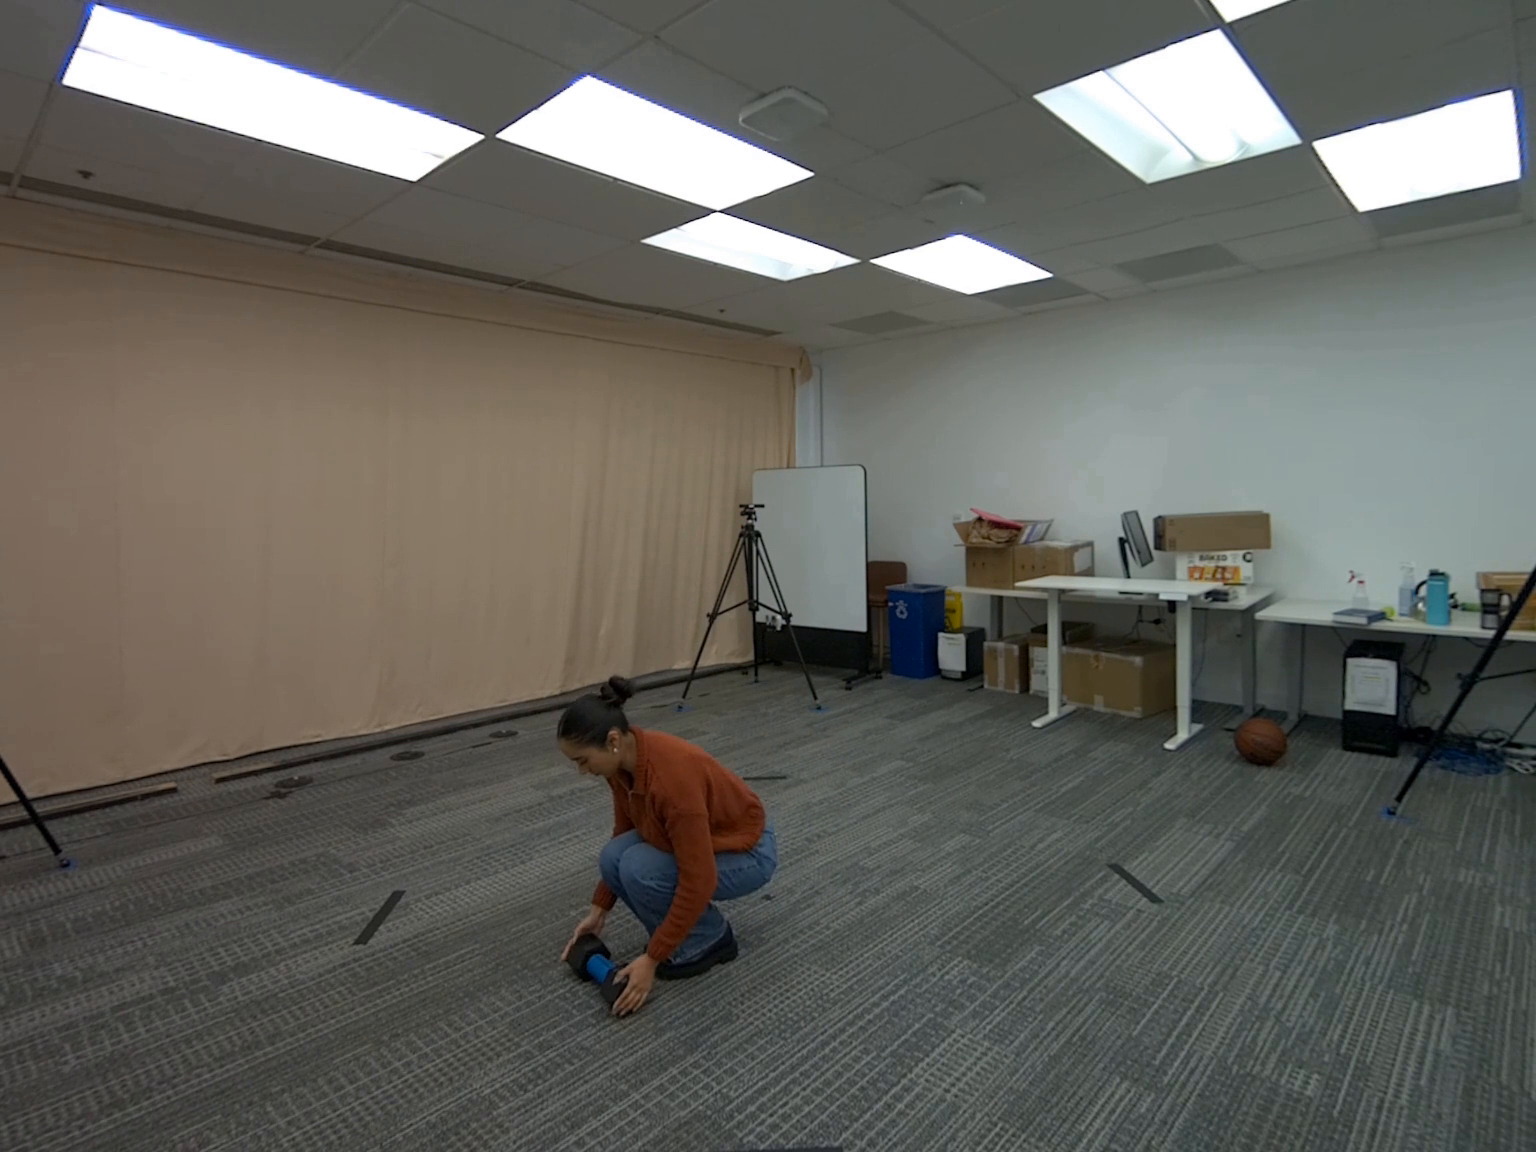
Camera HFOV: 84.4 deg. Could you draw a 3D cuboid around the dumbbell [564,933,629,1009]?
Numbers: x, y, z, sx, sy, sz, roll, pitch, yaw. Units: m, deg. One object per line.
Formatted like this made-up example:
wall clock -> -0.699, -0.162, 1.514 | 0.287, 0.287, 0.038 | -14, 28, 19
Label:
dumbbell -> -0.468, 1.147, 2.425 | 0.105, 0.123, 0.303 | 28, -13, -34
